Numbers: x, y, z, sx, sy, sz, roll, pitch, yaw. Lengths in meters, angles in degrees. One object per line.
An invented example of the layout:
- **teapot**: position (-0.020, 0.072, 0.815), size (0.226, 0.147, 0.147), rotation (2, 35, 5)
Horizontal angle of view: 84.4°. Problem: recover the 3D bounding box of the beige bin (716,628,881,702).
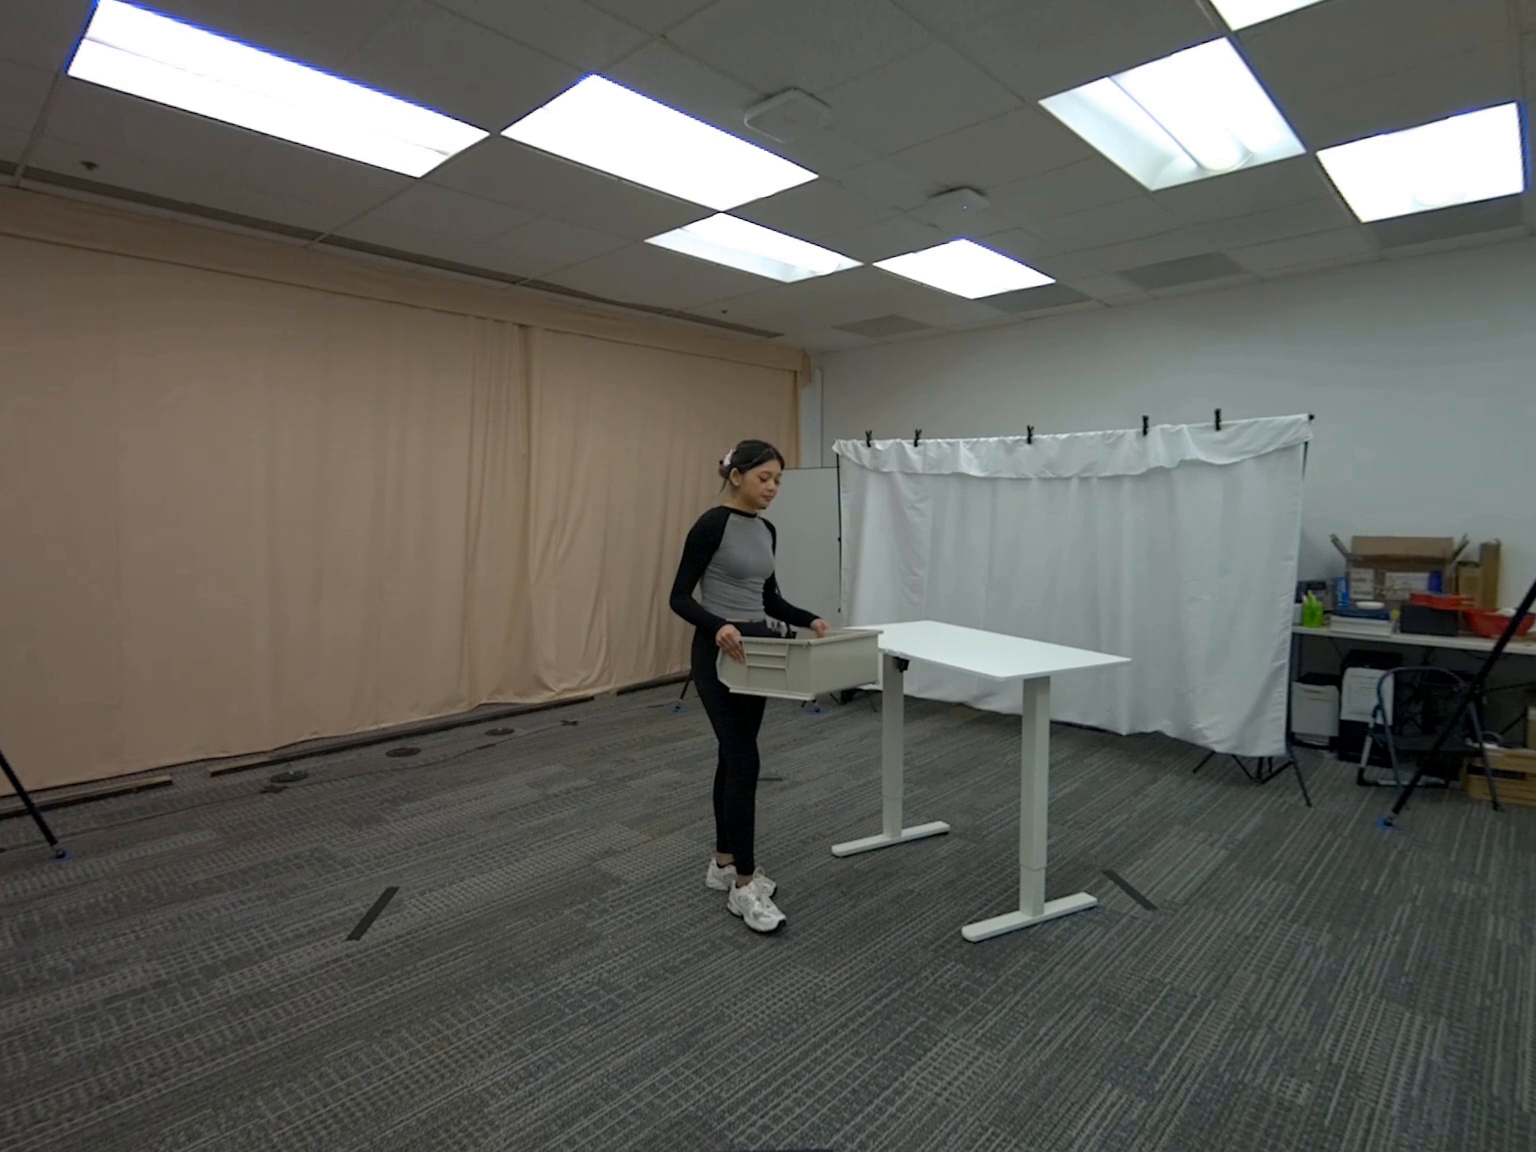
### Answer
- **beige bin**: position (0.112, 0.275, 2.759), size (0.389, 0.189, 0.409), rotation (2, 1, 40)
